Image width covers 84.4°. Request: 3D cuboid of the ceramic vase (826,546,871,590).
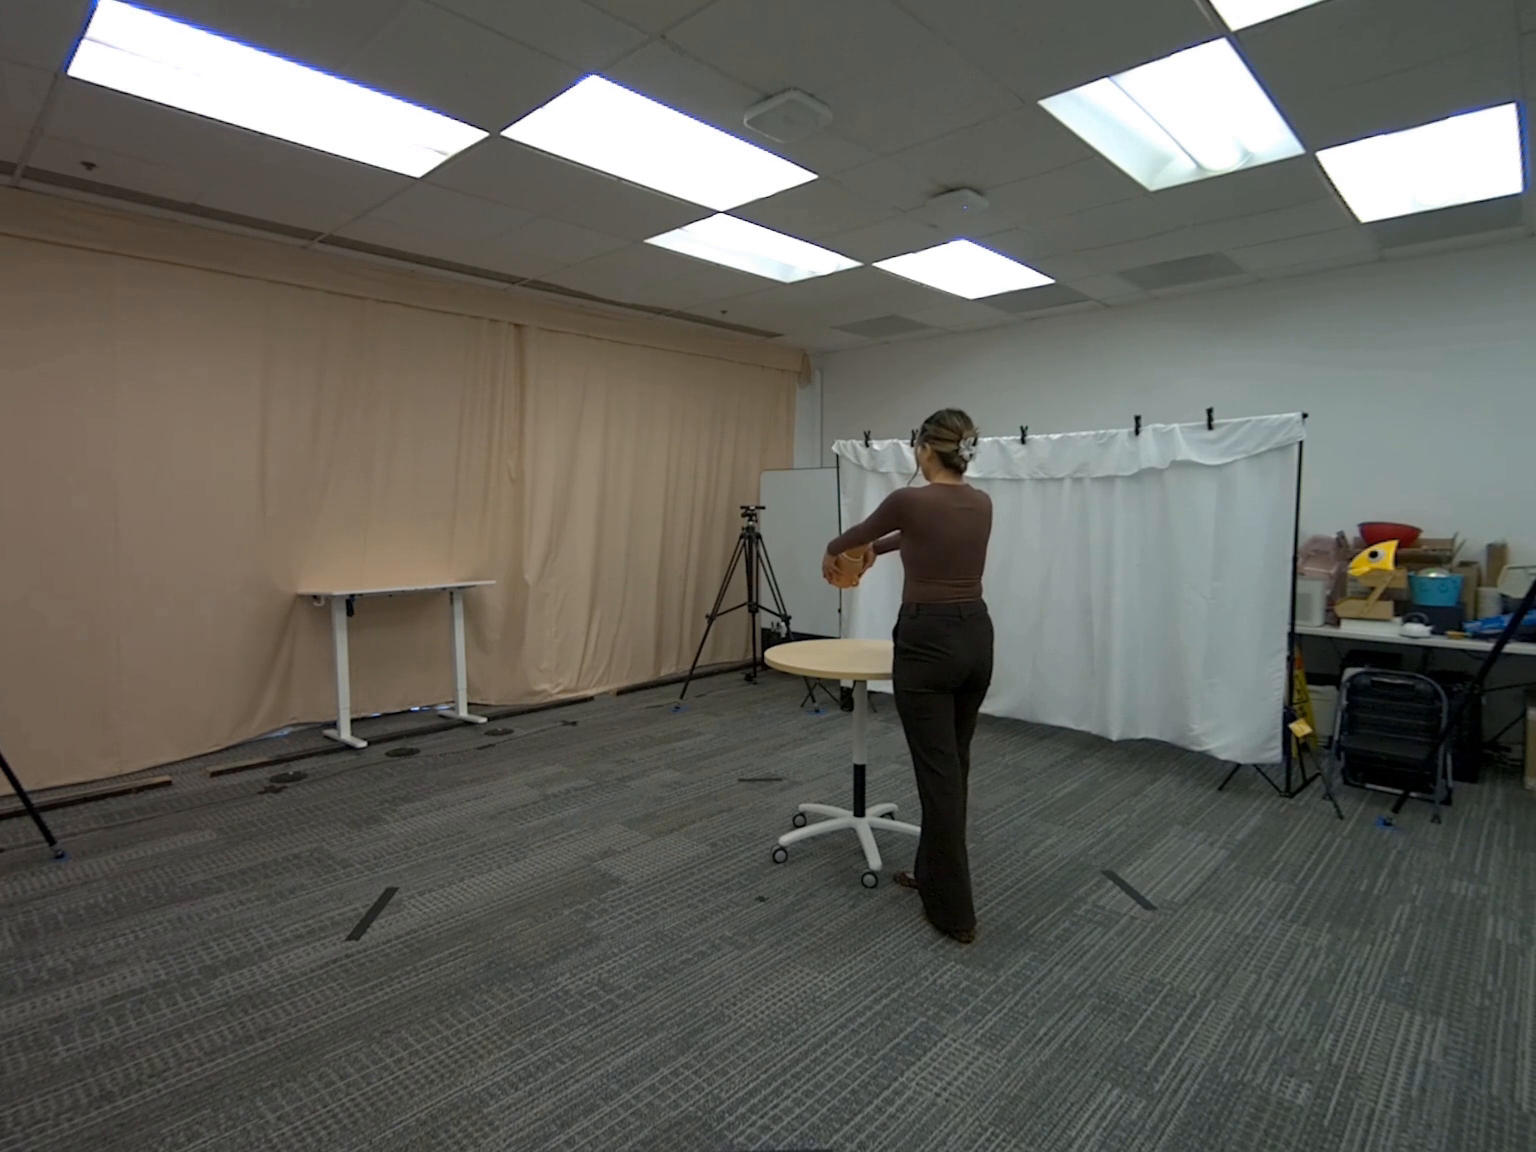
[{"bbox_3d":[0.330,-0.071,3.371,0.159,0.219,0.135,24,37,0],"label":"ceramic vase"}]
